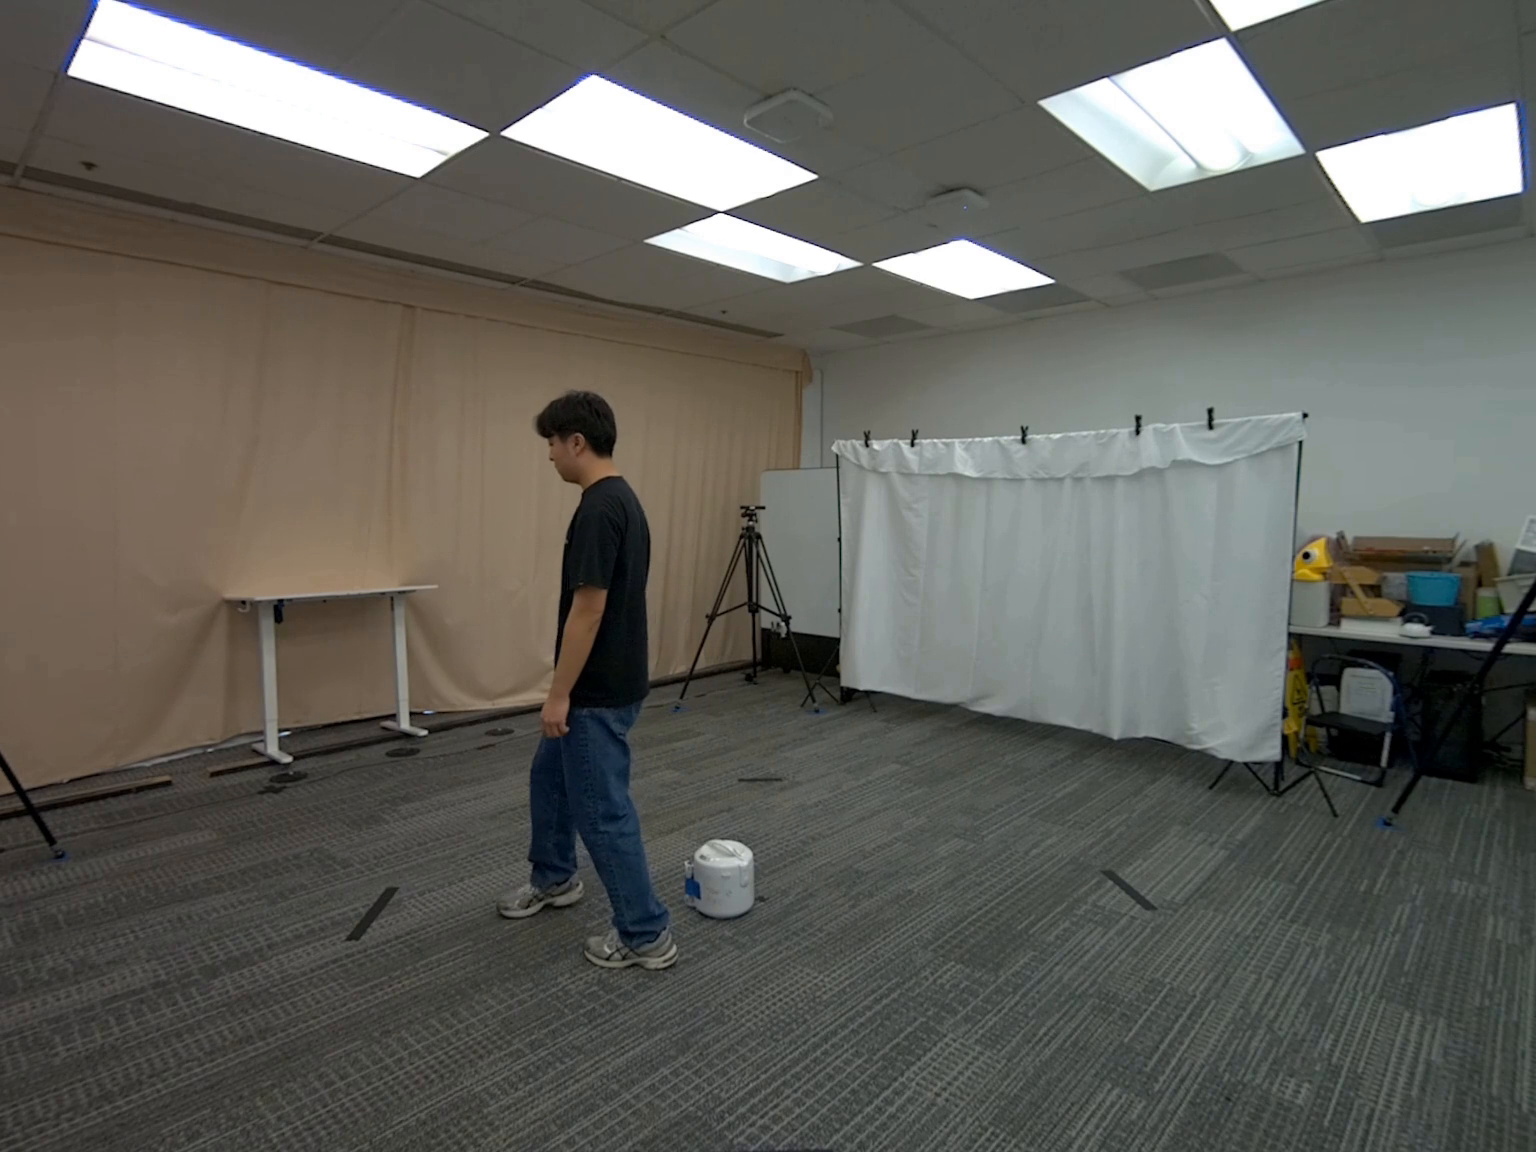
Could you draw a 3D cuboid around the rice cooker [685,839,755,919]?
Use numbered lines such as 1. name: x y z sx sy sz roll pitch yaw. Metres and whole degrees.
1. rice cooker: -0.150 1.034 2.909 0.228 0.232 0.211 4 6 45
